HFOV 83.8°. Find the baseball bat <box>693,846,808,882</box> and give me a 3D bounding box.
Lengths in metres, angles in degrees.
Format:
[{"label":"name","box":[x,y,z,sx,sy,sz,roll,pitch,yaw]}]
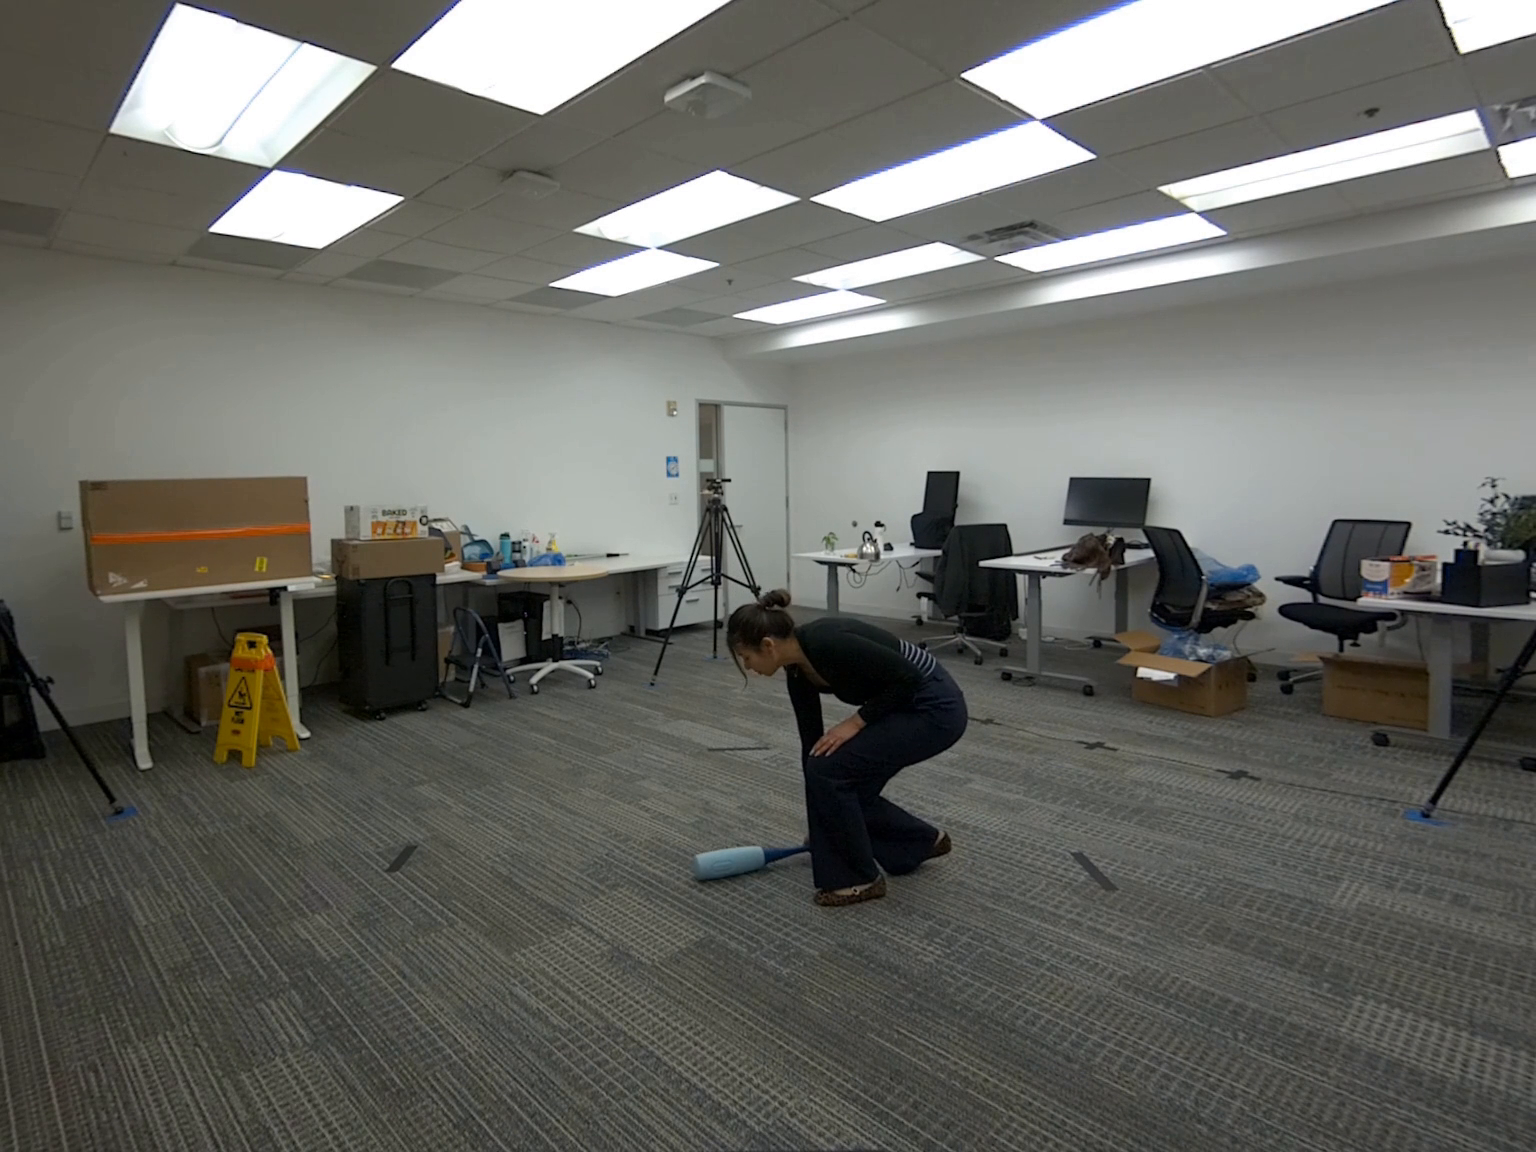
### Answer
[{"label":"baseball bat","box":[-0.007,0.996,3.070,0.534,0.089,0.091,-1,5,-17]}]
